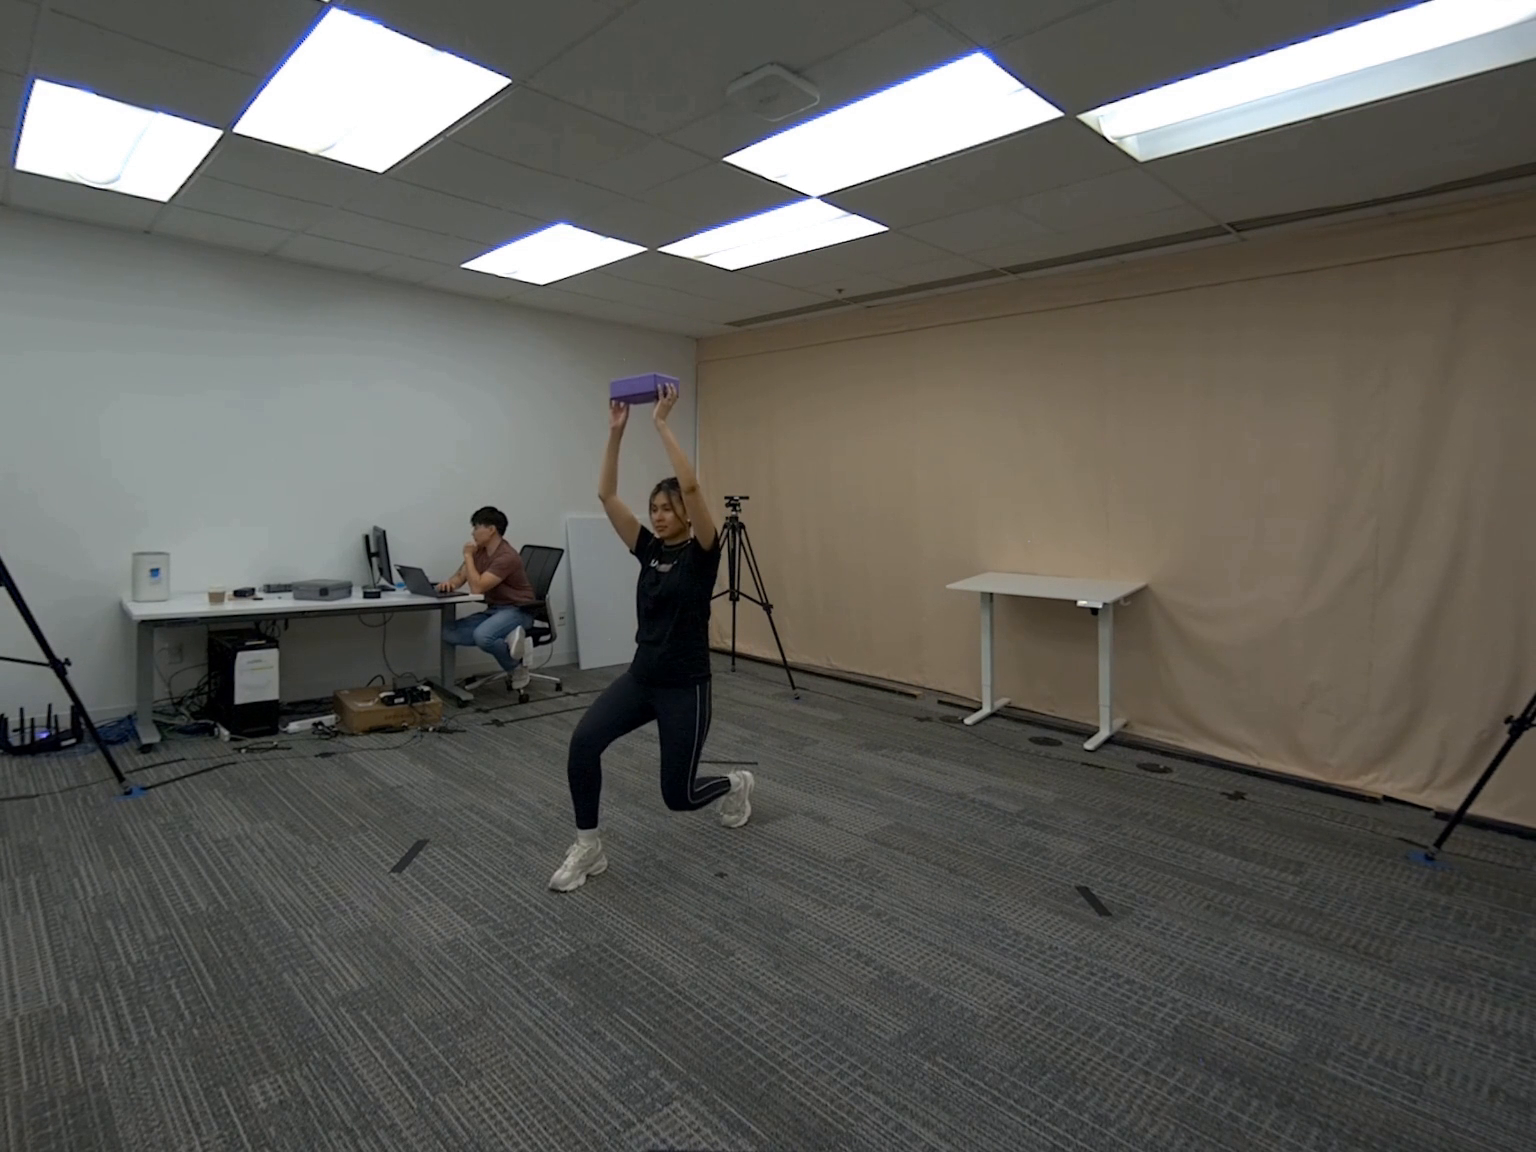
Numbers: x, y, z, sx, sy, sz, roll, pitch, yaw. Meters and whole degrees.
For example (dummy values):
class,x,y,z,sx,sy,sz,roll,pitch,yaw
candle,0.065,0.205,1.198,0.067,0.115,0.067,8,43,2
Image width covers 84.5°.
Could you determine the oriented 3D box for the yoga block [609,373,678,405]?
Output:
class,x,y,z,sx,sy,sz,roll,pitch,yaw
yoga block,-0.472,-0.708,3.173,0.234,0.076,0.146,0,1,35
